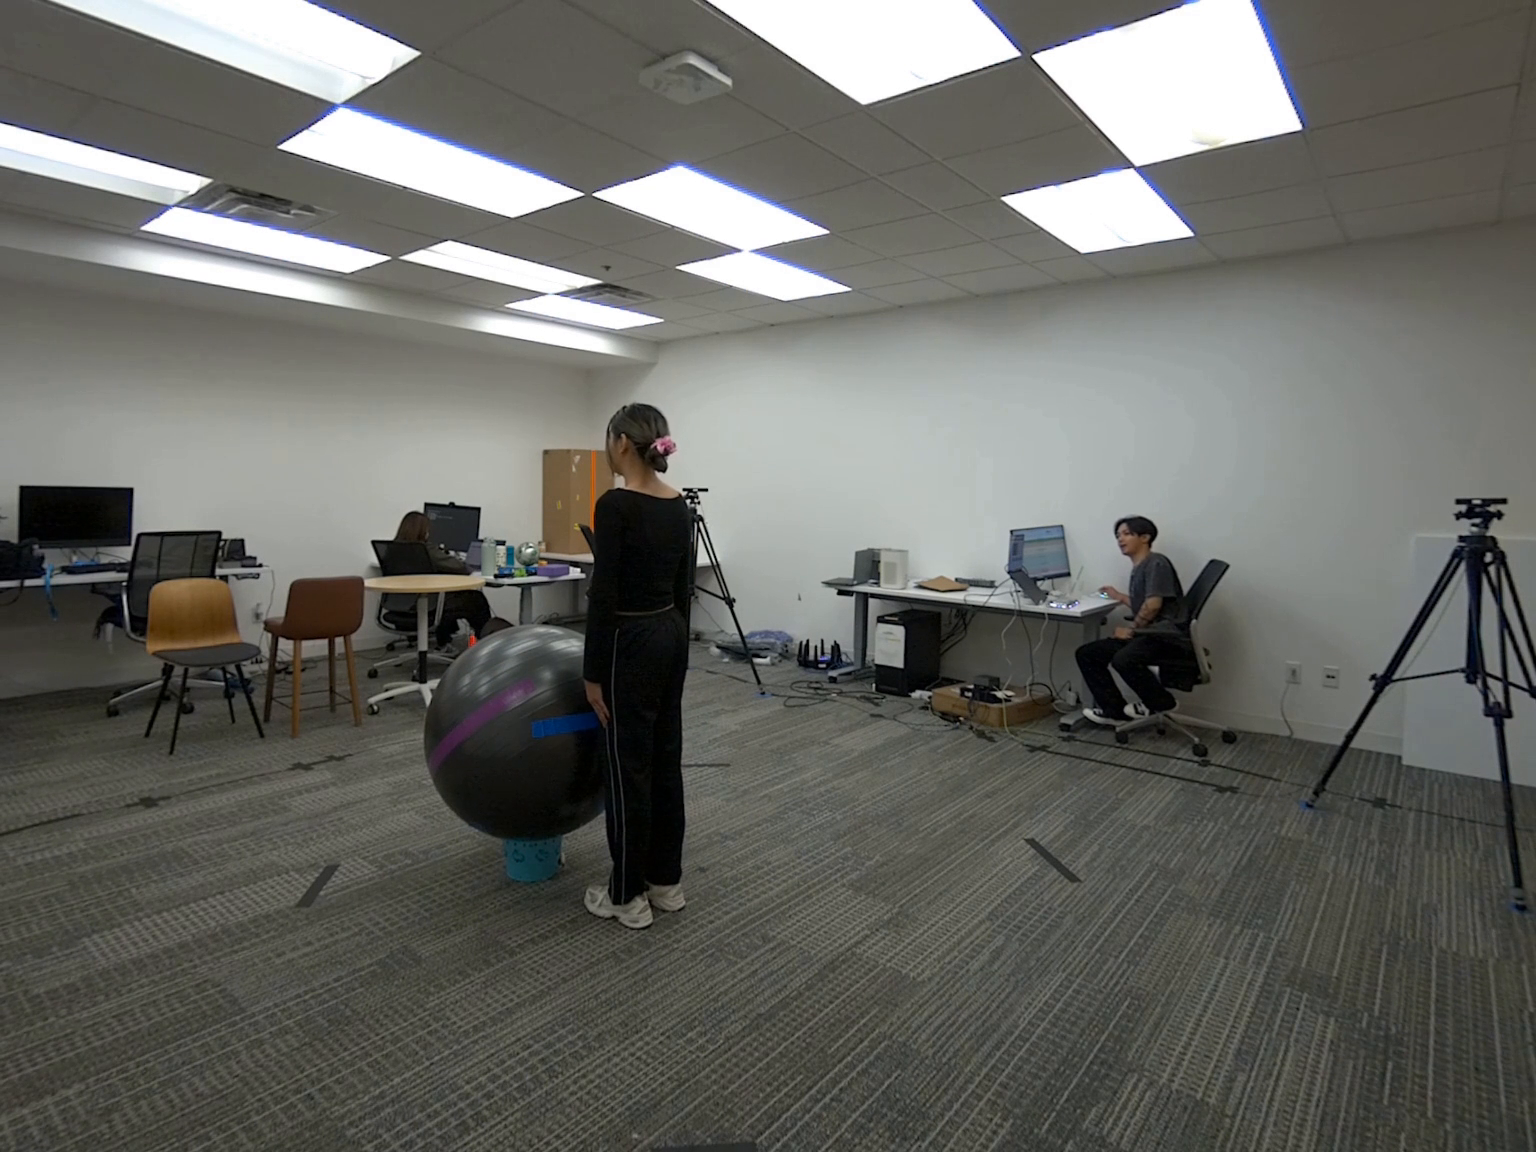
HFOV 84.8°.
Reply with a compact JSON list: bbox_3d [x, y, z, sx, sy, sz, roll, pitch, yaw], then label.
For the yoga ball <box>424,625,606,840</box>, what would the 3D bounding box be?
[{"bbox_3d":[-0.862,0.555,3.060,0.757,0.755,0.762,1,4,-2],"label":"yoga ball"}]
